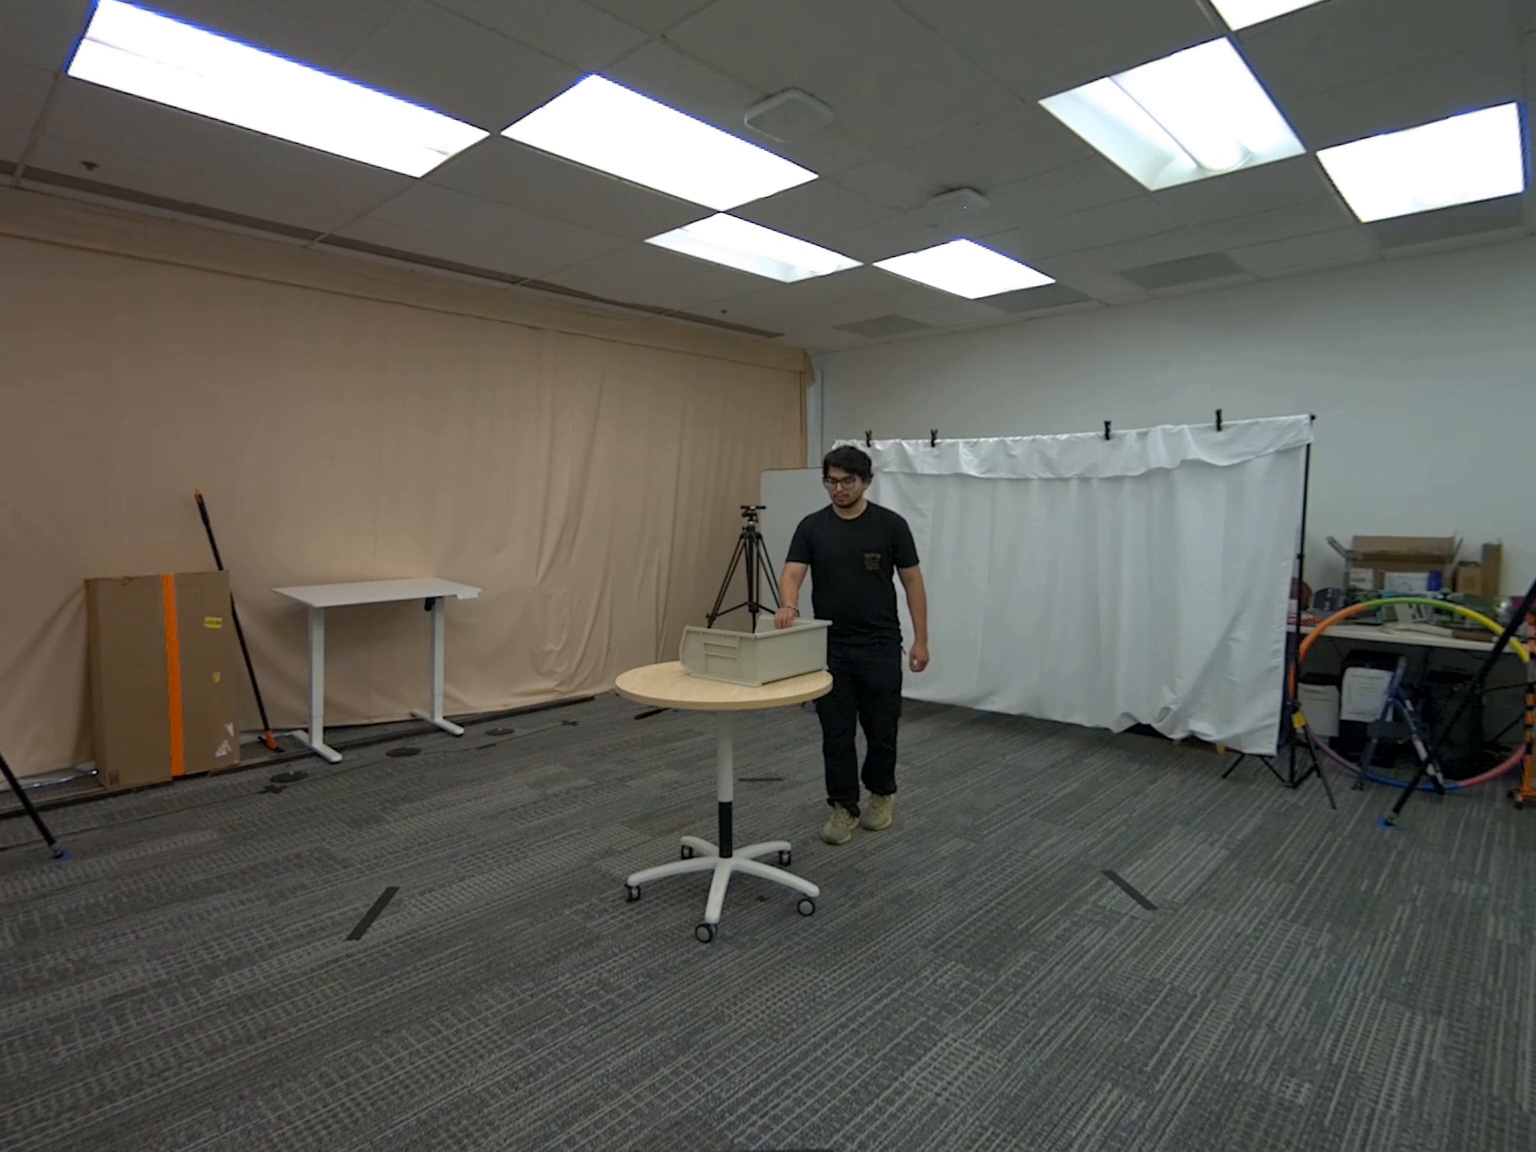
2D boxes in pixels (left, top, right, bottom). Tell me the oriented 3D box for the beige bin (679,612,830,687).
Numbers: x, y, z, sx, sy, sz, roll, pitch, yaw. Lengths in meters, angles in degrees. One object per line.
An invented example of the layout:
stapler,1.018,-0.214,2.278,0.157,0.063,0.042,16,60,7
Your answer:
beige bin,-0.044,0.262,3.062,0.390,0.188,0.409,5,7,42
